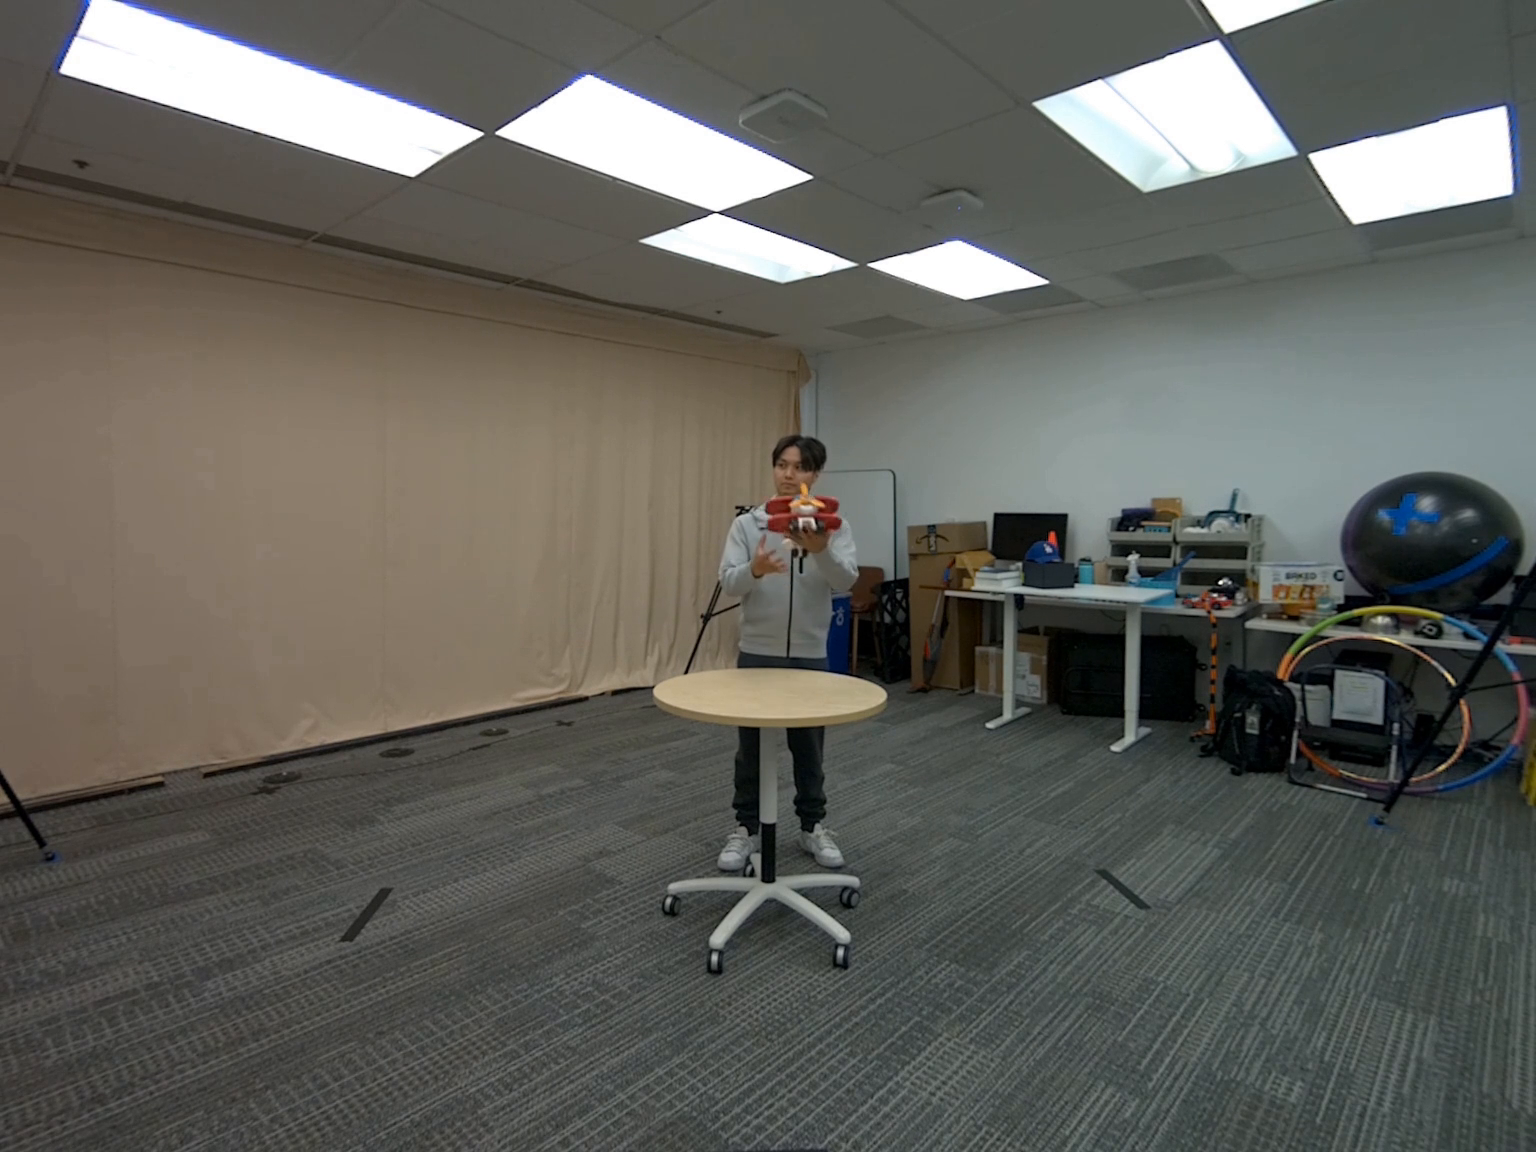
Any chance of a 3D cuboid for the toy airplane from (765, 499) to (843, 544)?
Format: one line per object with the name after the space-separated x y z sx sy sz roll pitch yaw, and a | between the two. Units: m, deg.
0.095 -0.101 2.894 0.243 0.158 0.265 11 -19 -38 | toy airplane
